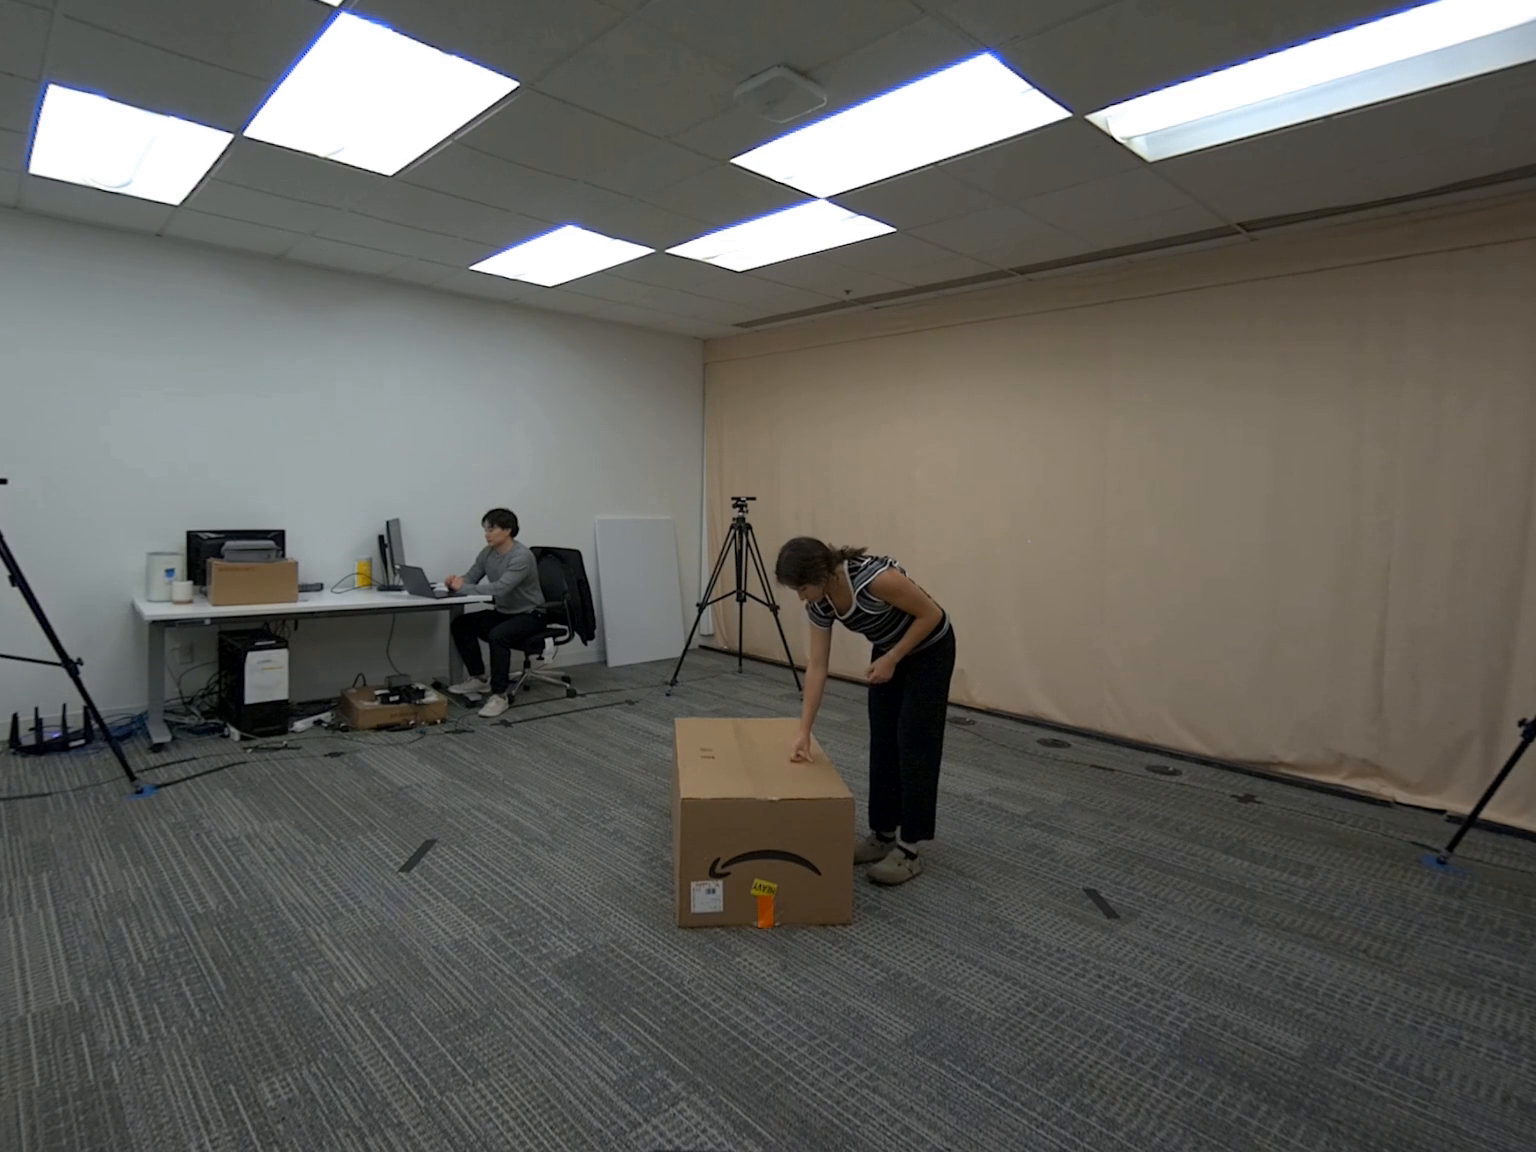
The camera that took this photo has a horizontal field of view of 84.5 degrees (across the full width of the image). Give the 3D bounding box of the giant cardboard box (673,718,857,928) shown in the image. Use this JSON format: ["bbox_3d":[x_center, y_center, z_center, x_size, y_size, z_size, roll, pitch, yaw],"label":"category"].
[{"bbox_3d":[-0.075,0.887,3.230,0.575,0.425,1.033,1,5,-7],"label":"giant cardboard box"}]
